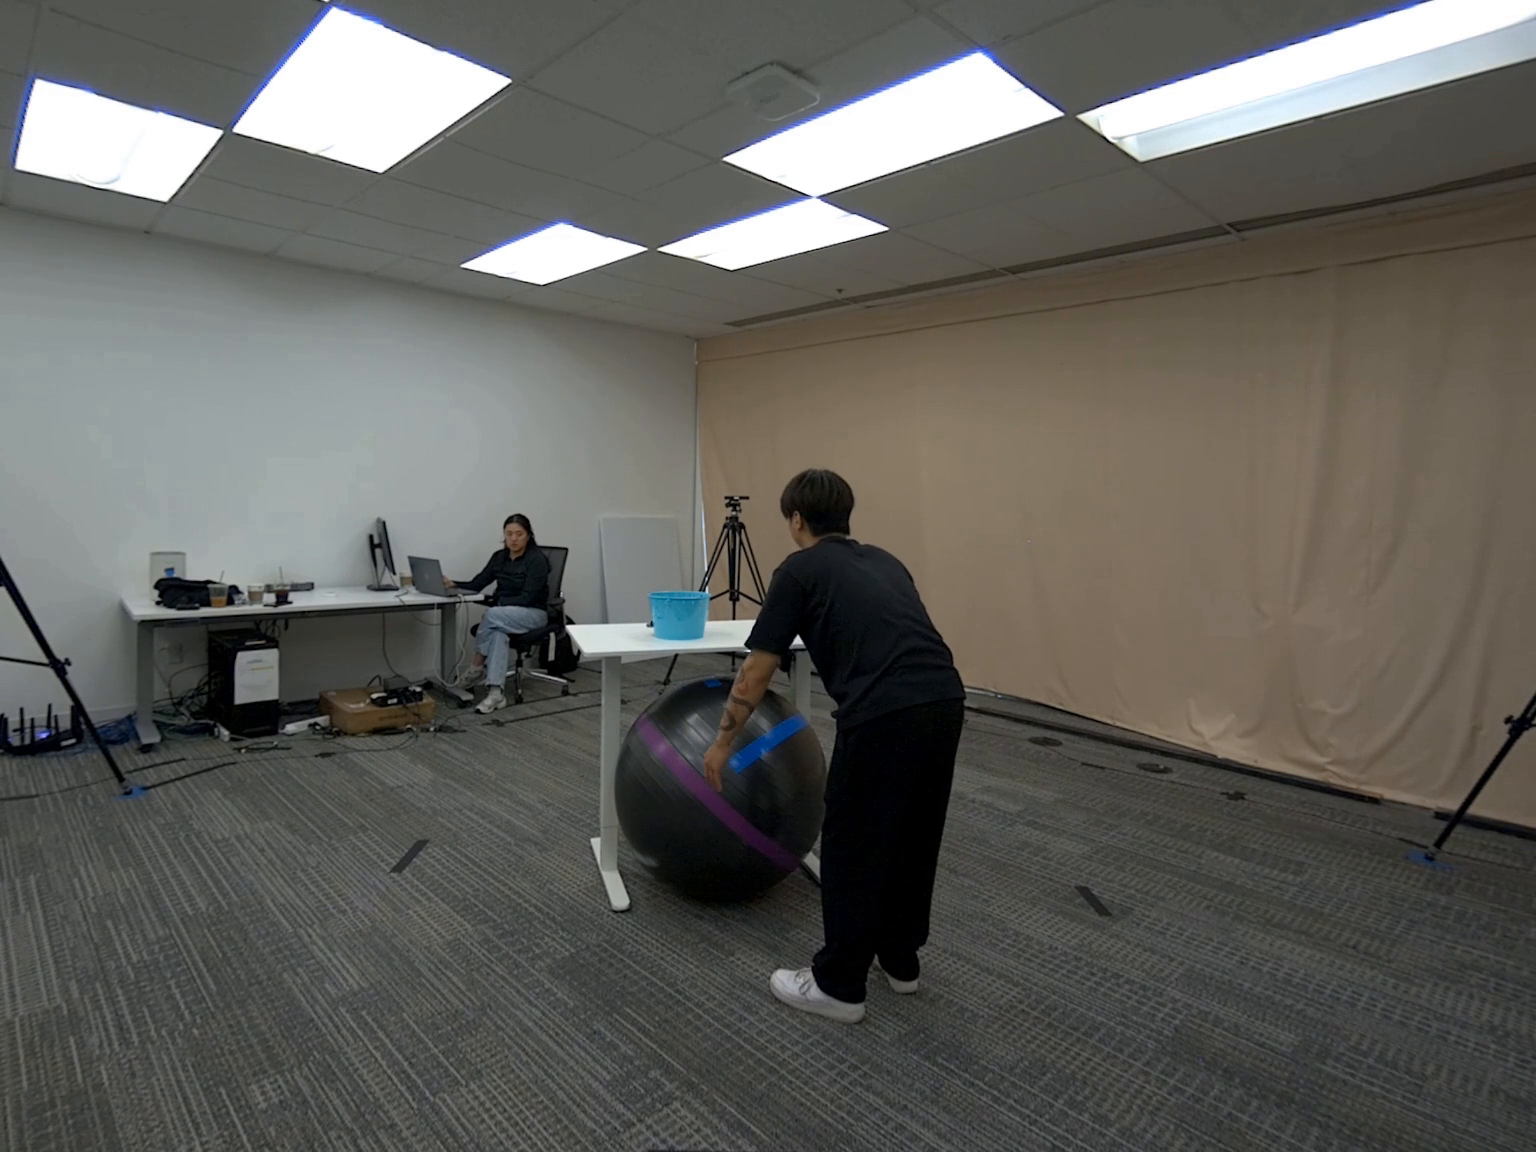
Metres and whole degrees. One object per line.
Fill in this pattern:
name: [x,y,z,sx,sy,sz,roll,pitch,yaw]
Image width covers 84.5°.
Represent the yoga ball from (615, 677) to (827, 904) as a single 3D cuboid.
yoga ball: [-0.178,0.755,3.007,0.757,0.756,0.761,1,4,-1]
